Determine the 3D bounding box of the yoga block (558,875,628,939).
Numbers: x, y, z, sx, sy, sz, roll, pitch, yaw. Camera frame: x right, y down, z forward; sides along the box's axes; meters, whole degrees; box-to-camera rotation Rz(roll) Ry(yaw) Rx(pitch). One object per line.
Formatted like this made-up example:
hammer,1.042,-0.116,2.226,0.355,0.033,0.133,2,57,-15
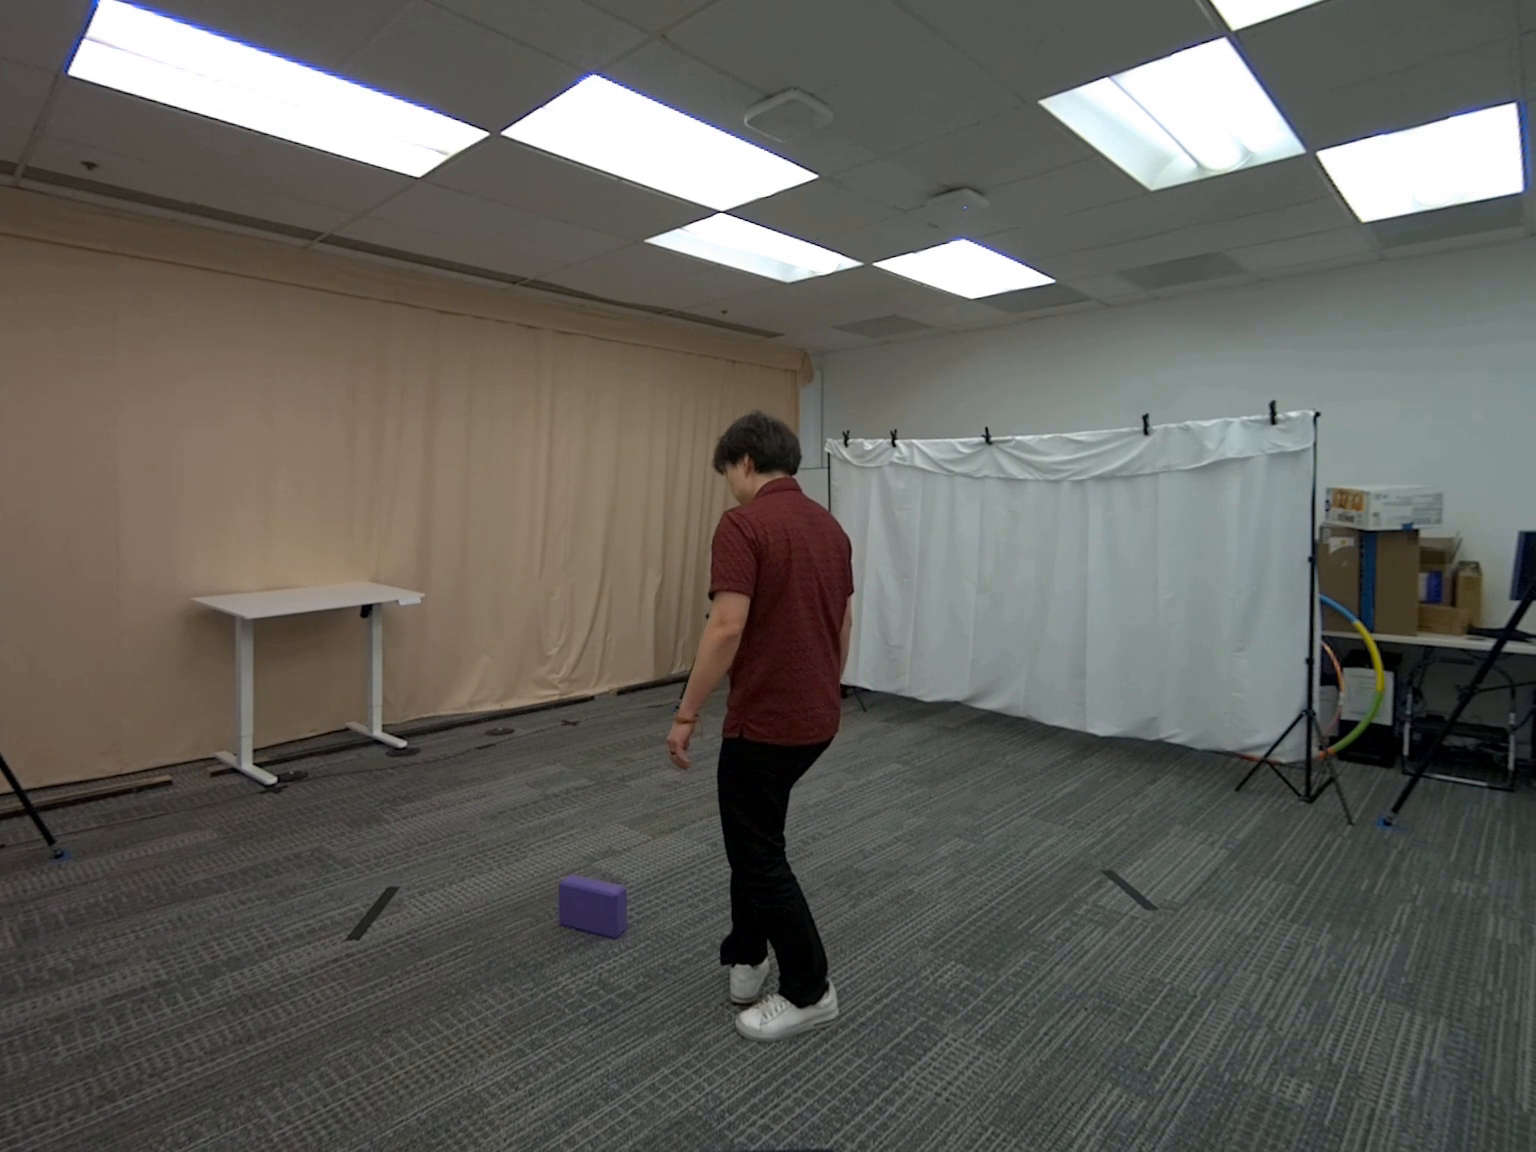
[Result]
yoga block,-0.581,1.091,2.779,0.235,0.149,0.074,2,3,25
